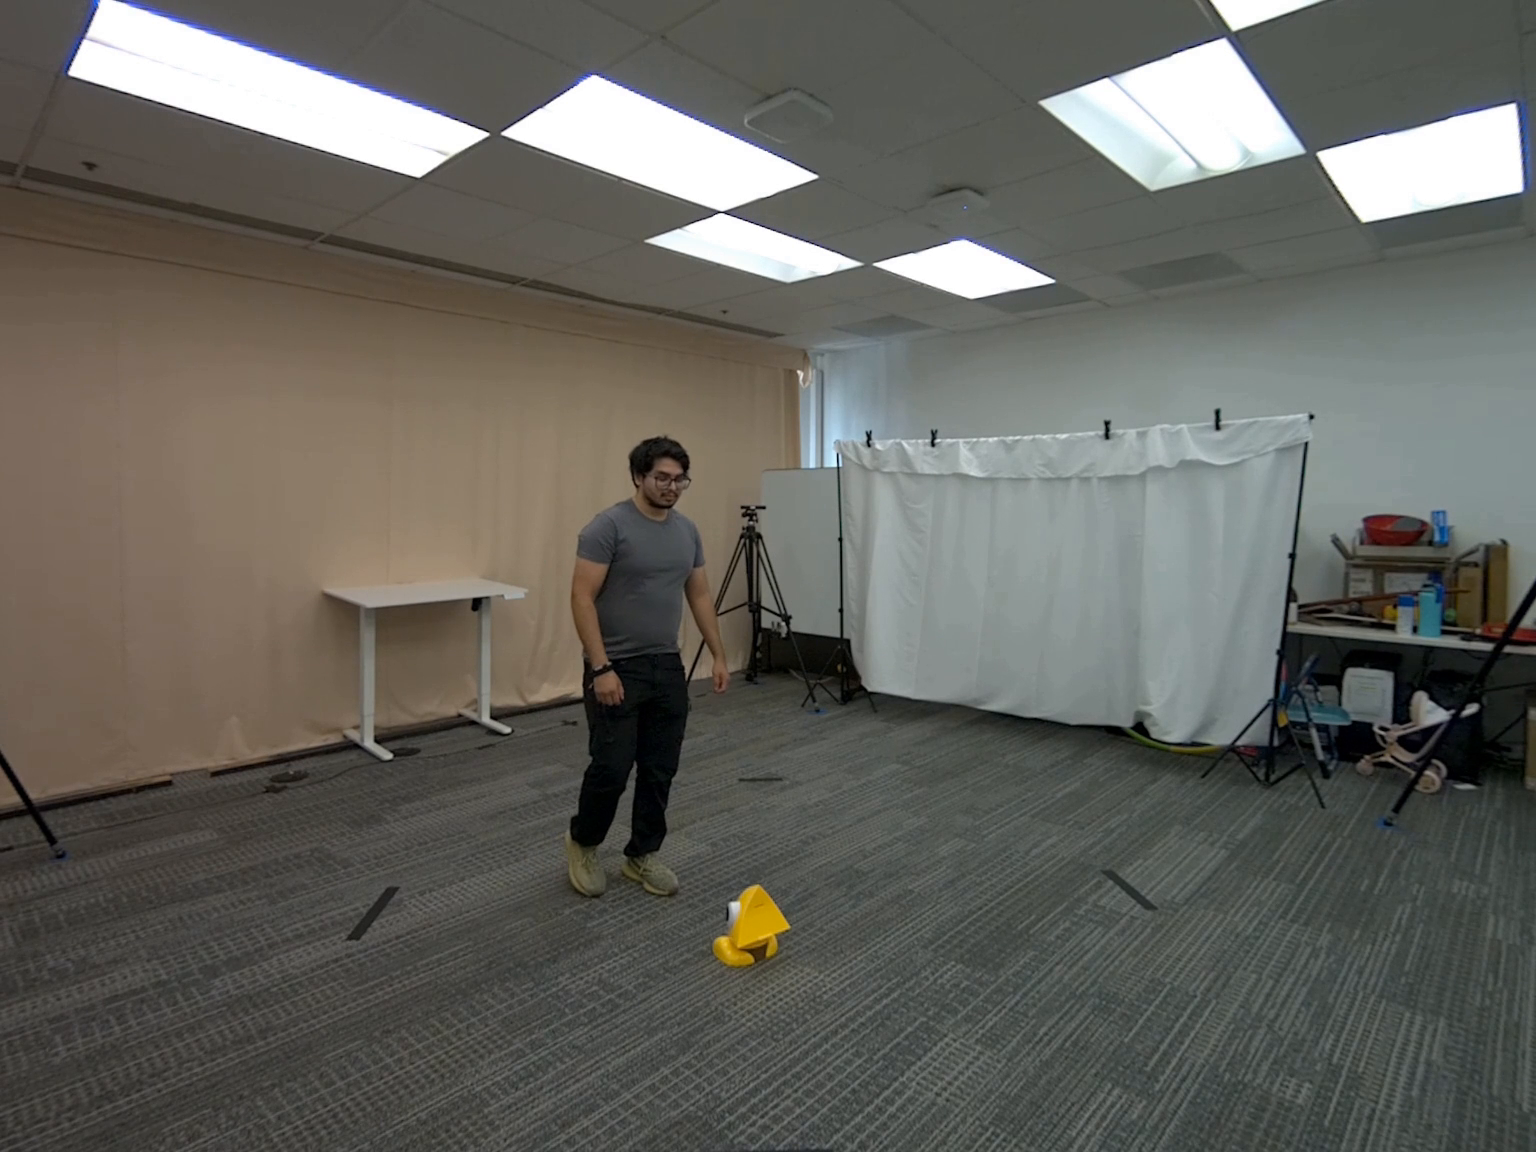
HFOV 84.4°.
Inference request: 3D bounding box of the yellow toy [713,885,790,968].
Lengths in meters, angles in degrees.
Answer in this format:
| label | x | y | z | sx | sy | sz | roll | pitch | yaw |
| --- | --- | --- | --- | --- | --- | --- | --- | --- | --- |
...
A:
| label | x | y | z | sx | sy | sz | roll | pitch | yaw |
| --- | --- | --- | --- | --- | --- | --- | --- | --- | --- |
| yellow toy | -0.062 | 1.062 | 2.627 | 0.199 | 0.230 | 0.199 | -3 | 3 | -37 |
